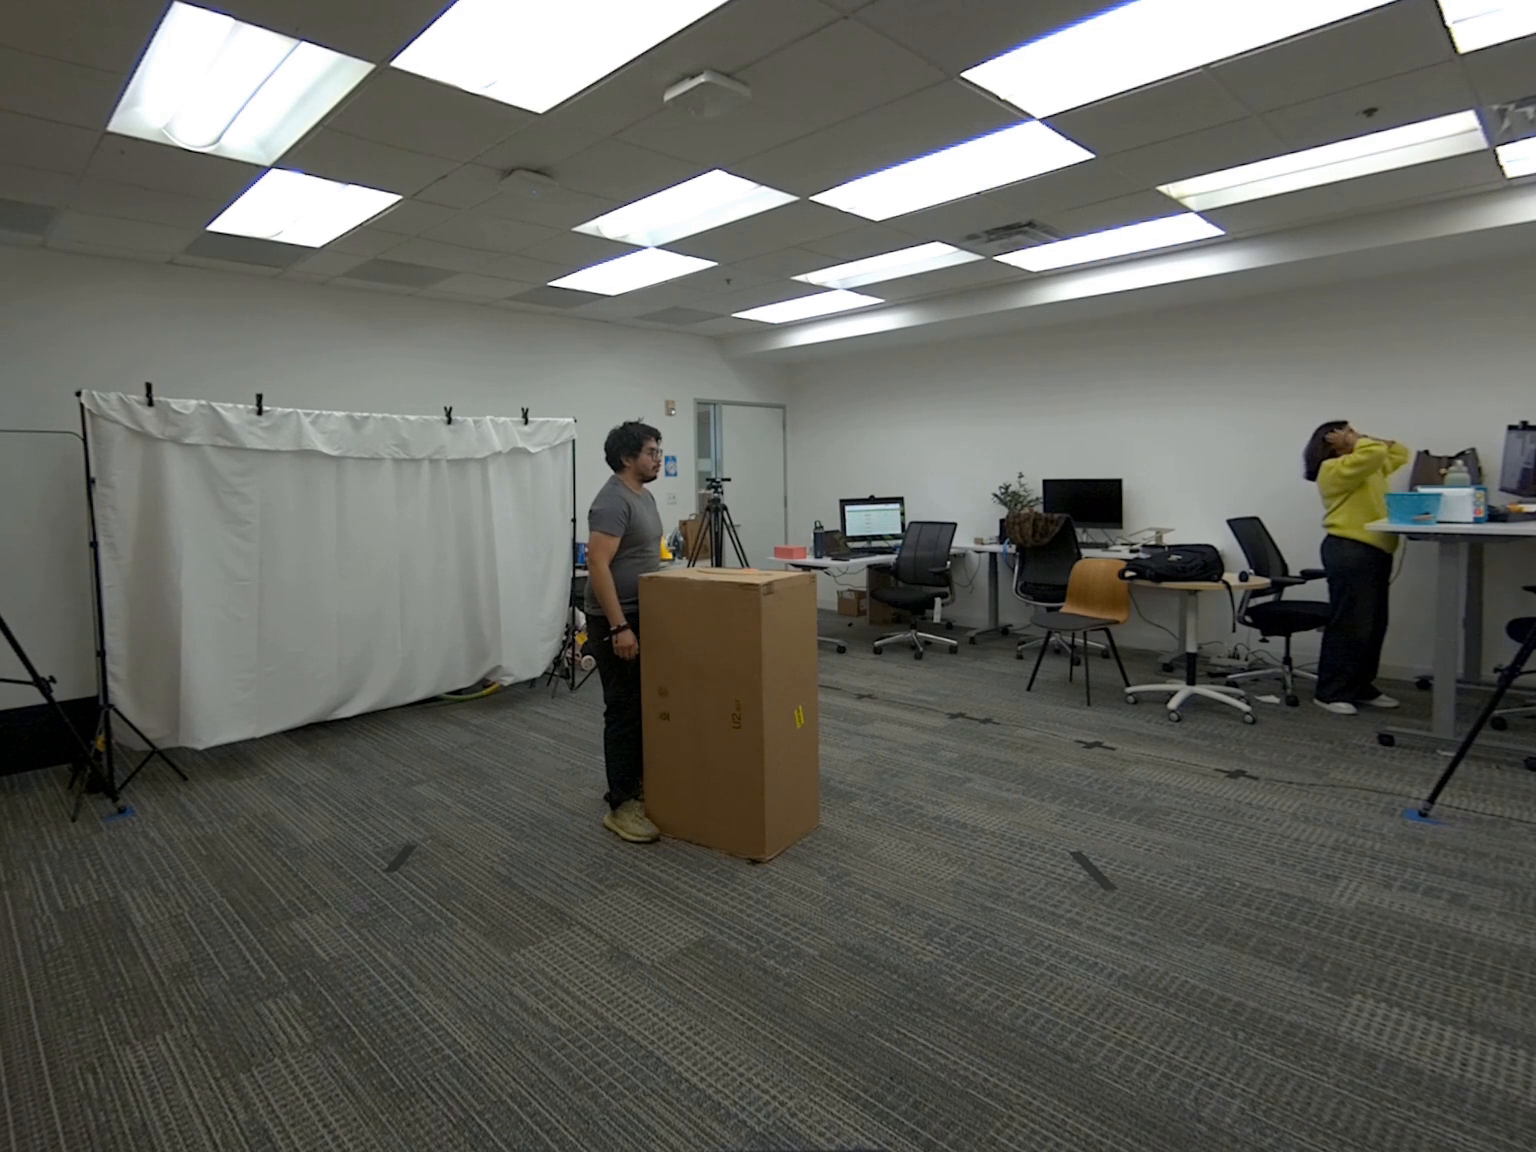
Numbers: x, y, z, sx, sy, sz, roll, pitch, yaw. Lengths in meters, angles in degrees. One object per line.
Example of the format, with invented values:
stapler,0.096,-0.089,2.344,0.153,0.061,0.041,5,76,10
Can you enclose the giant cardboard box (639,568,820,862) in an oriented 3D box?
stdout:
giant cardboard box,-0.144,0.506,3.401,0.600,1.023,0.436,2,5,33
